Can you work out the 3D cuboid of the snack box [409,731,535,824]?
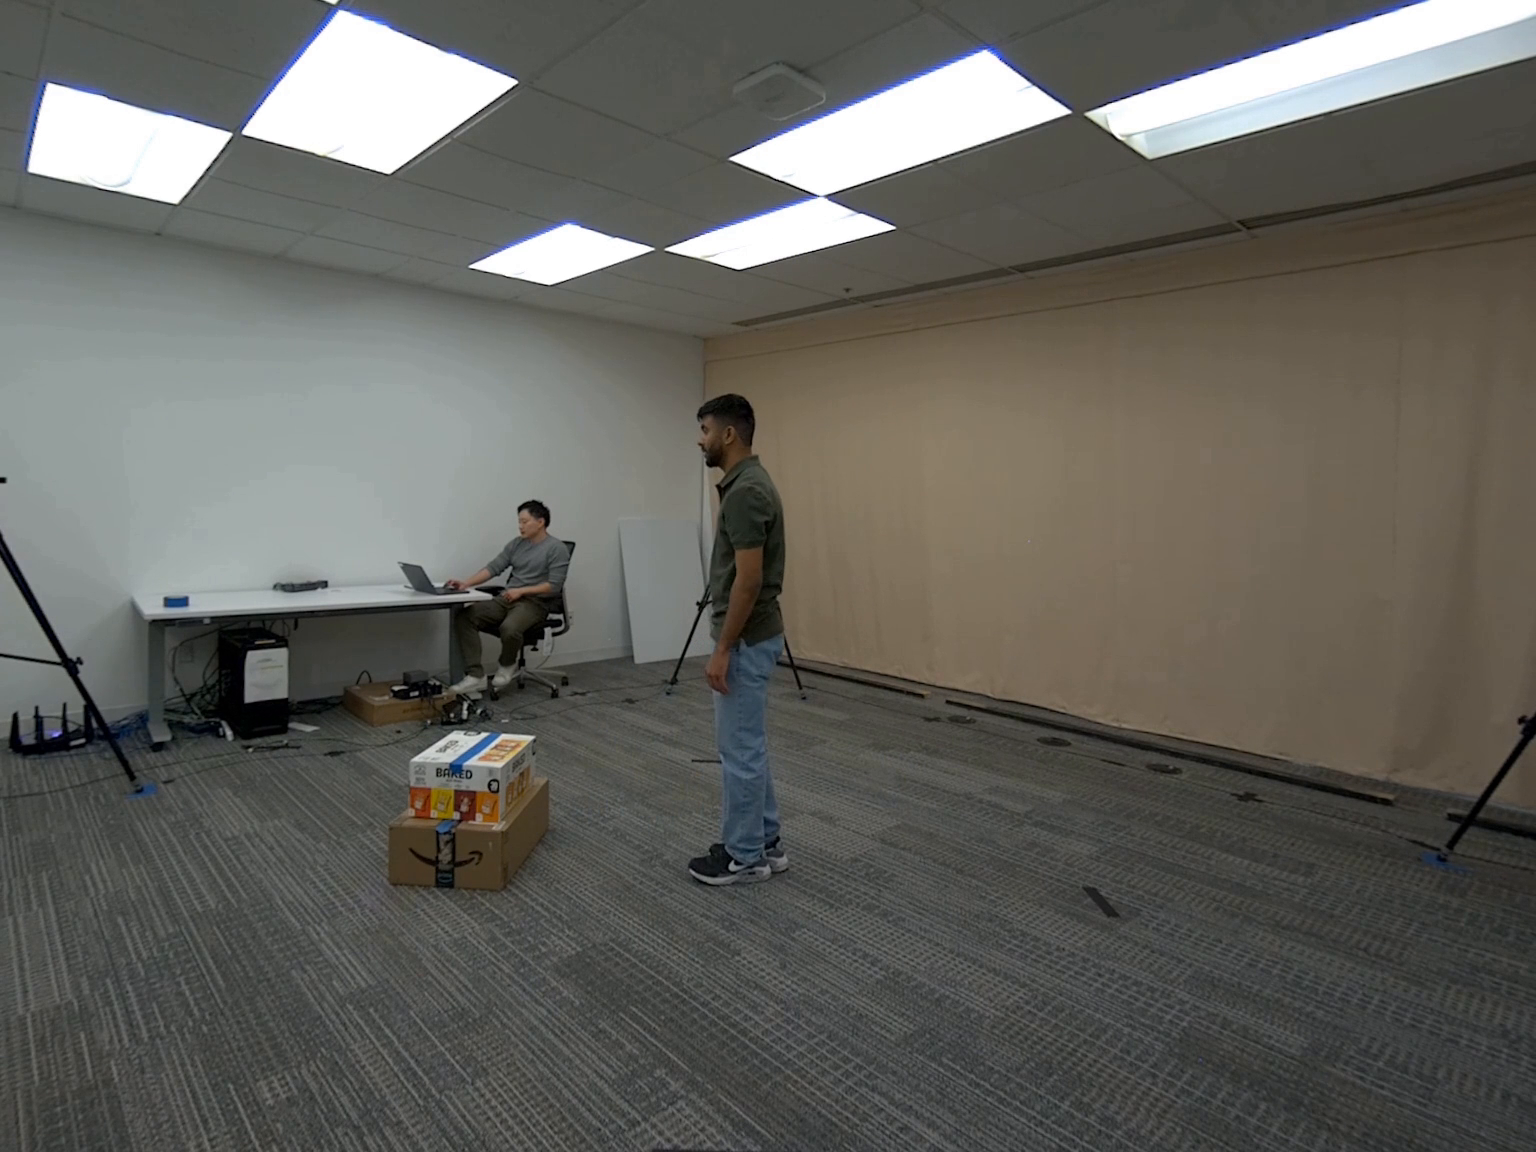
[{"bbox_3d":[-1.112,0.750,3.206,0.341,0.205,0.405,3,5,3],"label":"snack box"}]
